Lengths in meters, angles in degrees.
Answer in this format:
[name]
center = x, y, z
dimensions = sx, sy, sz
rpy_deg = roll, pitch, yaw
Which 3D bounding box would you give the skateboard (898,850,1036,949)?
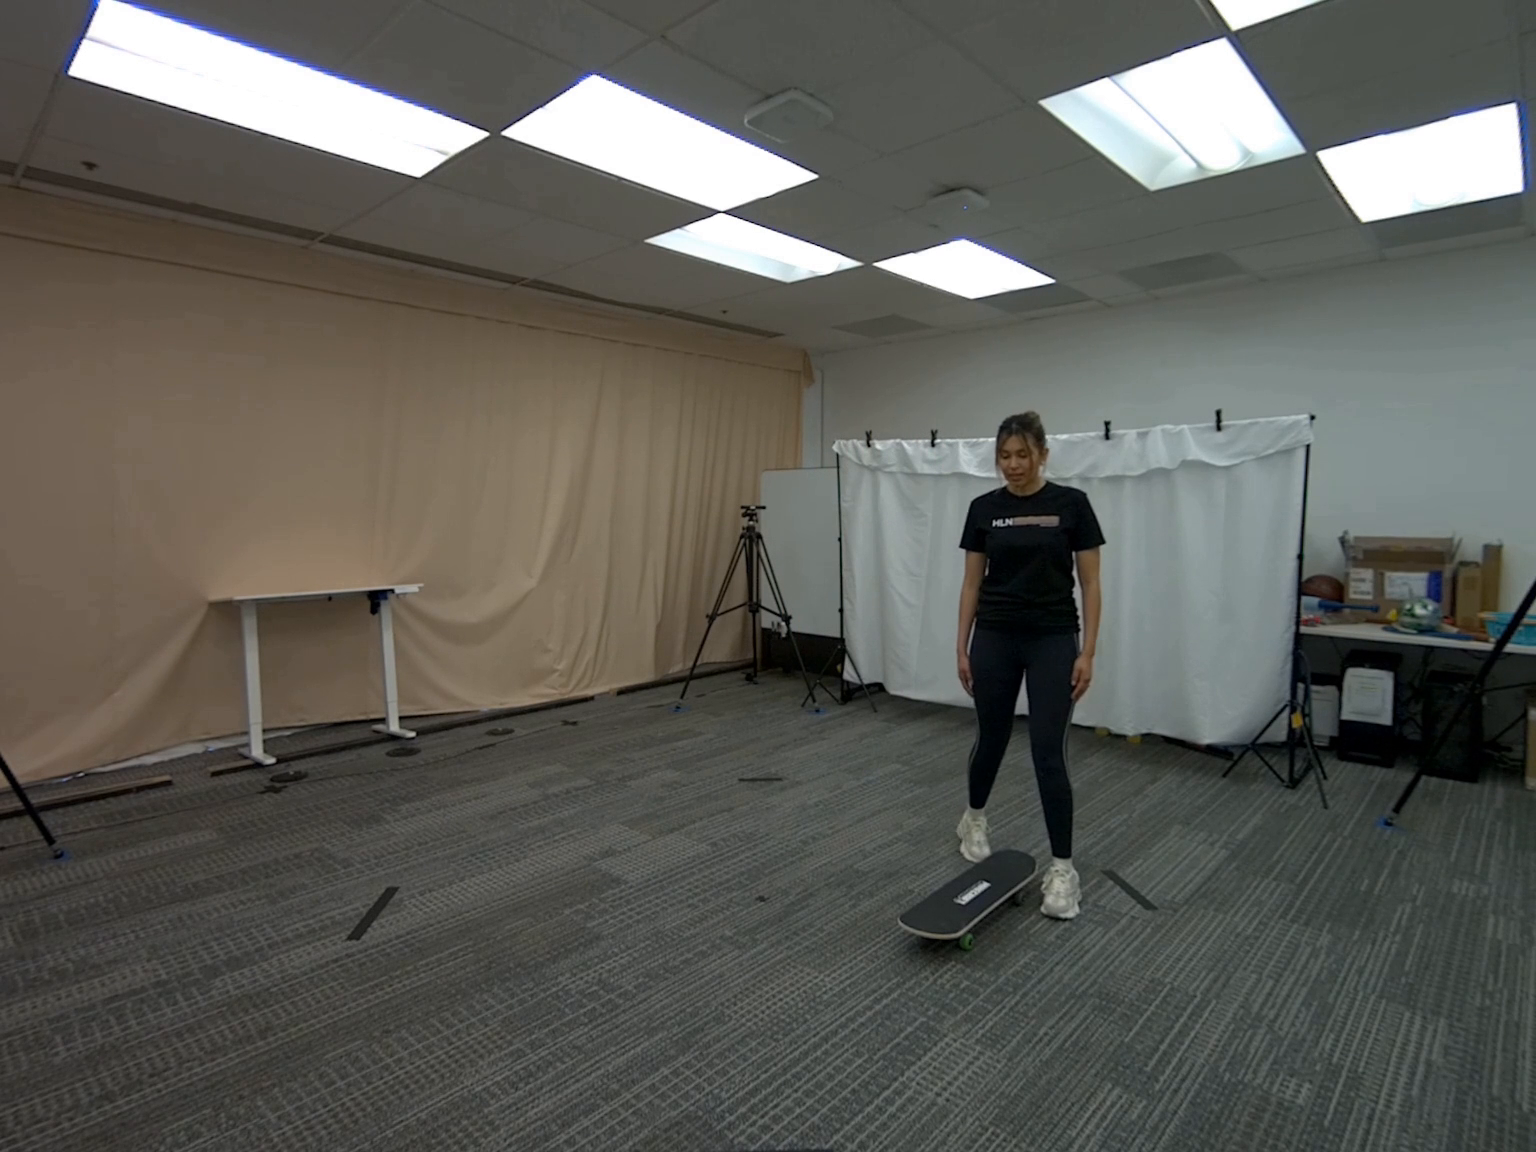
[skateboard]
center = 0.693, 1.100, 2.829
dimensions = 0.200, 0.110, 0.762
rpy_deg = 2, 5, 41
